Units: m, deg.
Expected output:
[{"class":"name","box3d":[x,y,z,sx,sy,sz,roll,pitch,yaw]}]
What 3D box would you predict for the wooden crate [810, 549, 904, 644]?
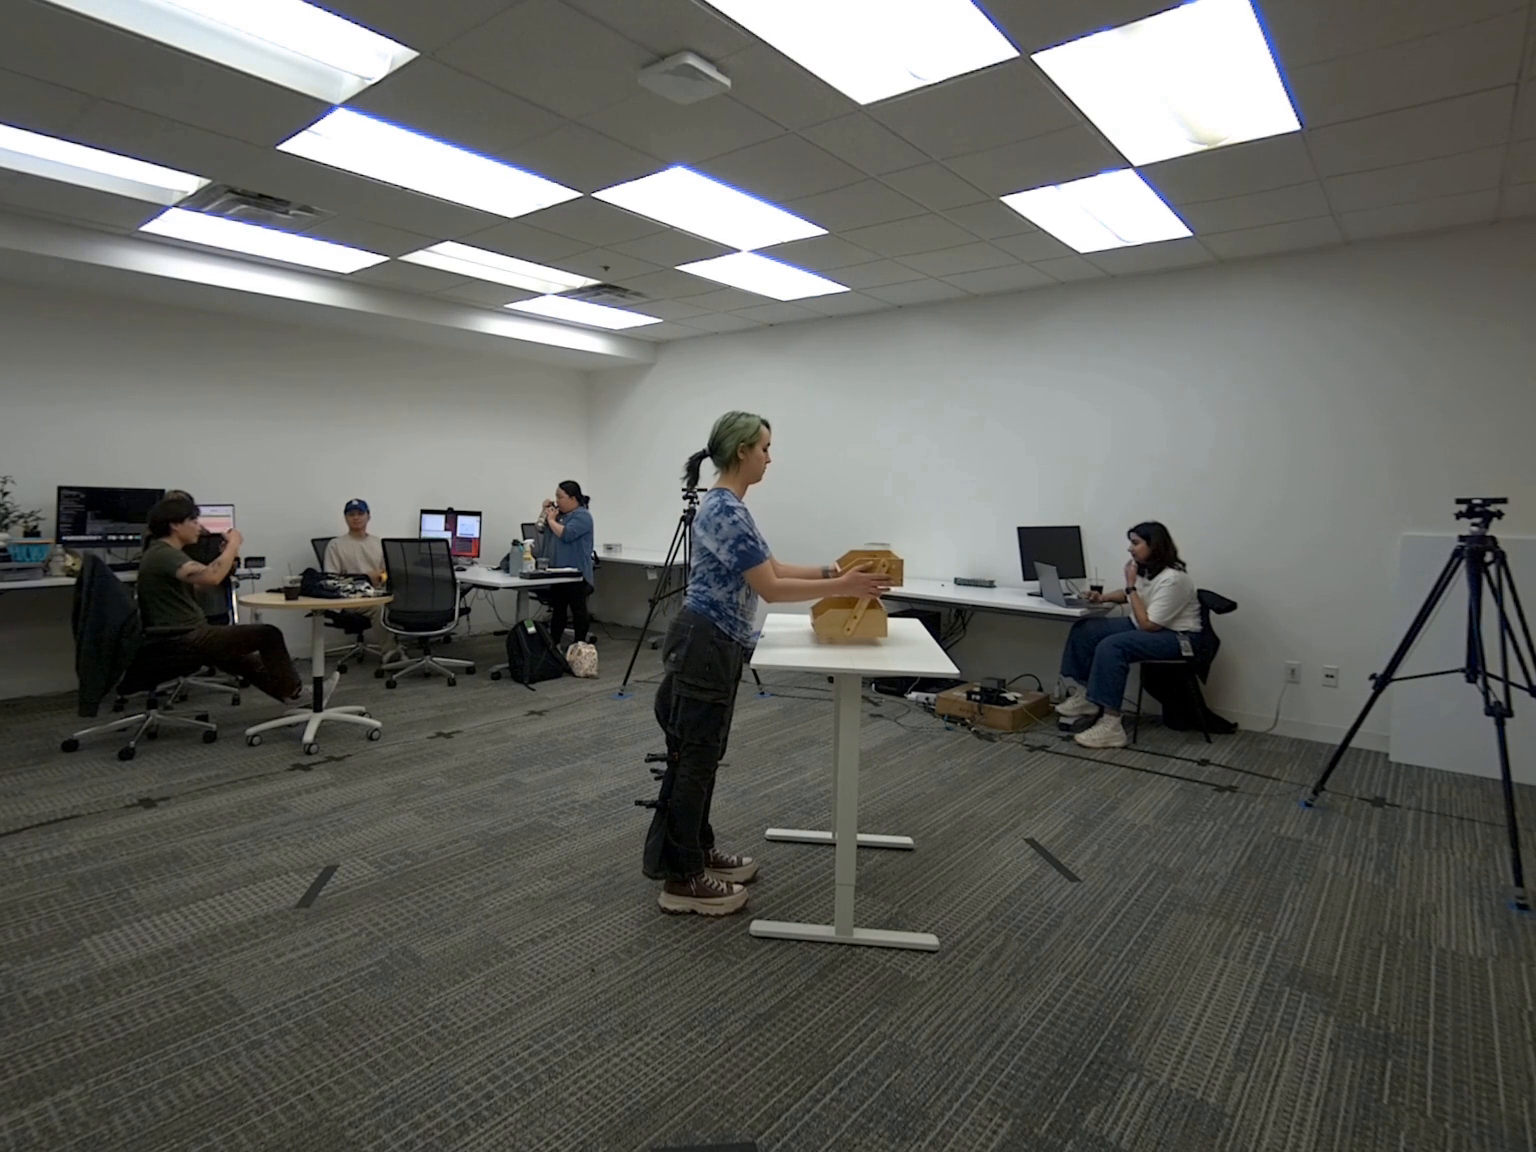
[{"class":"wooden crate","box3d":[0.283,0.050,2.941,0.303,0.272,0.326,0,7,2]}]
